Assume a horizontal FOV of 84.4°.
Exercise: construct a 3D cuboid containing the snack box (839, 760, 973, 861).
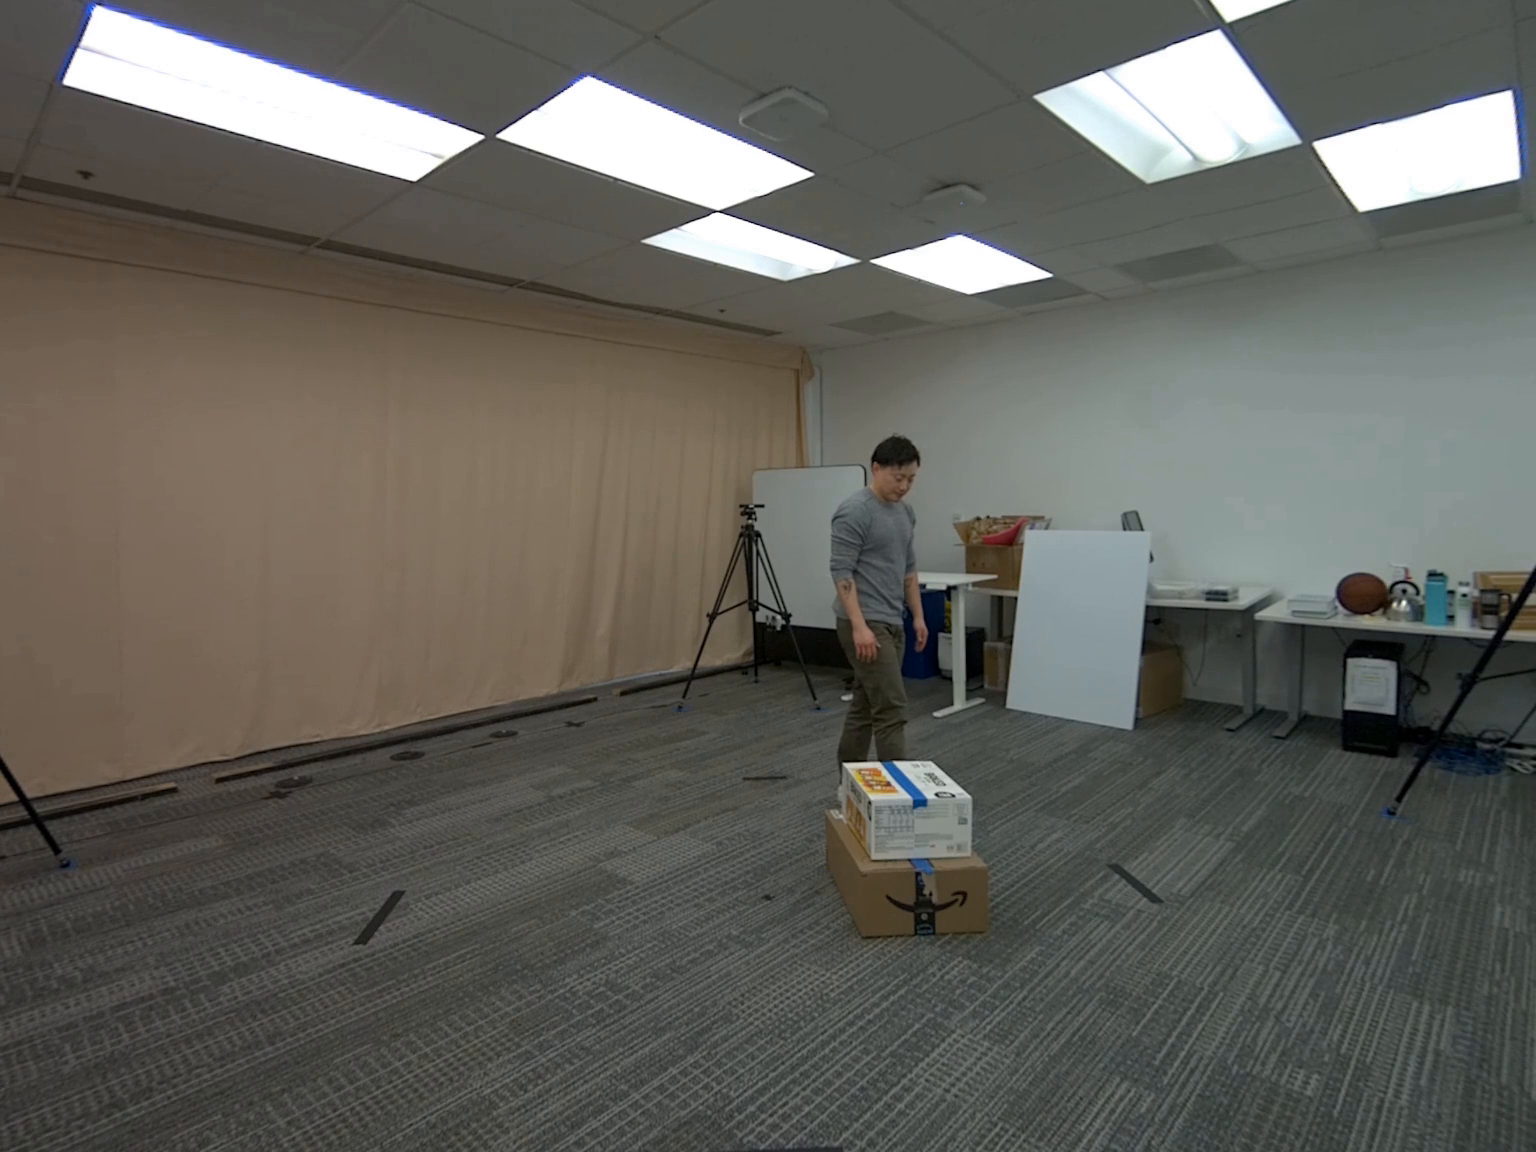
[{"bbox_3d":[0.478,0.815,2.963,0.338,0.205,0.409,-1,5,-7],"label":"snack box"}]
